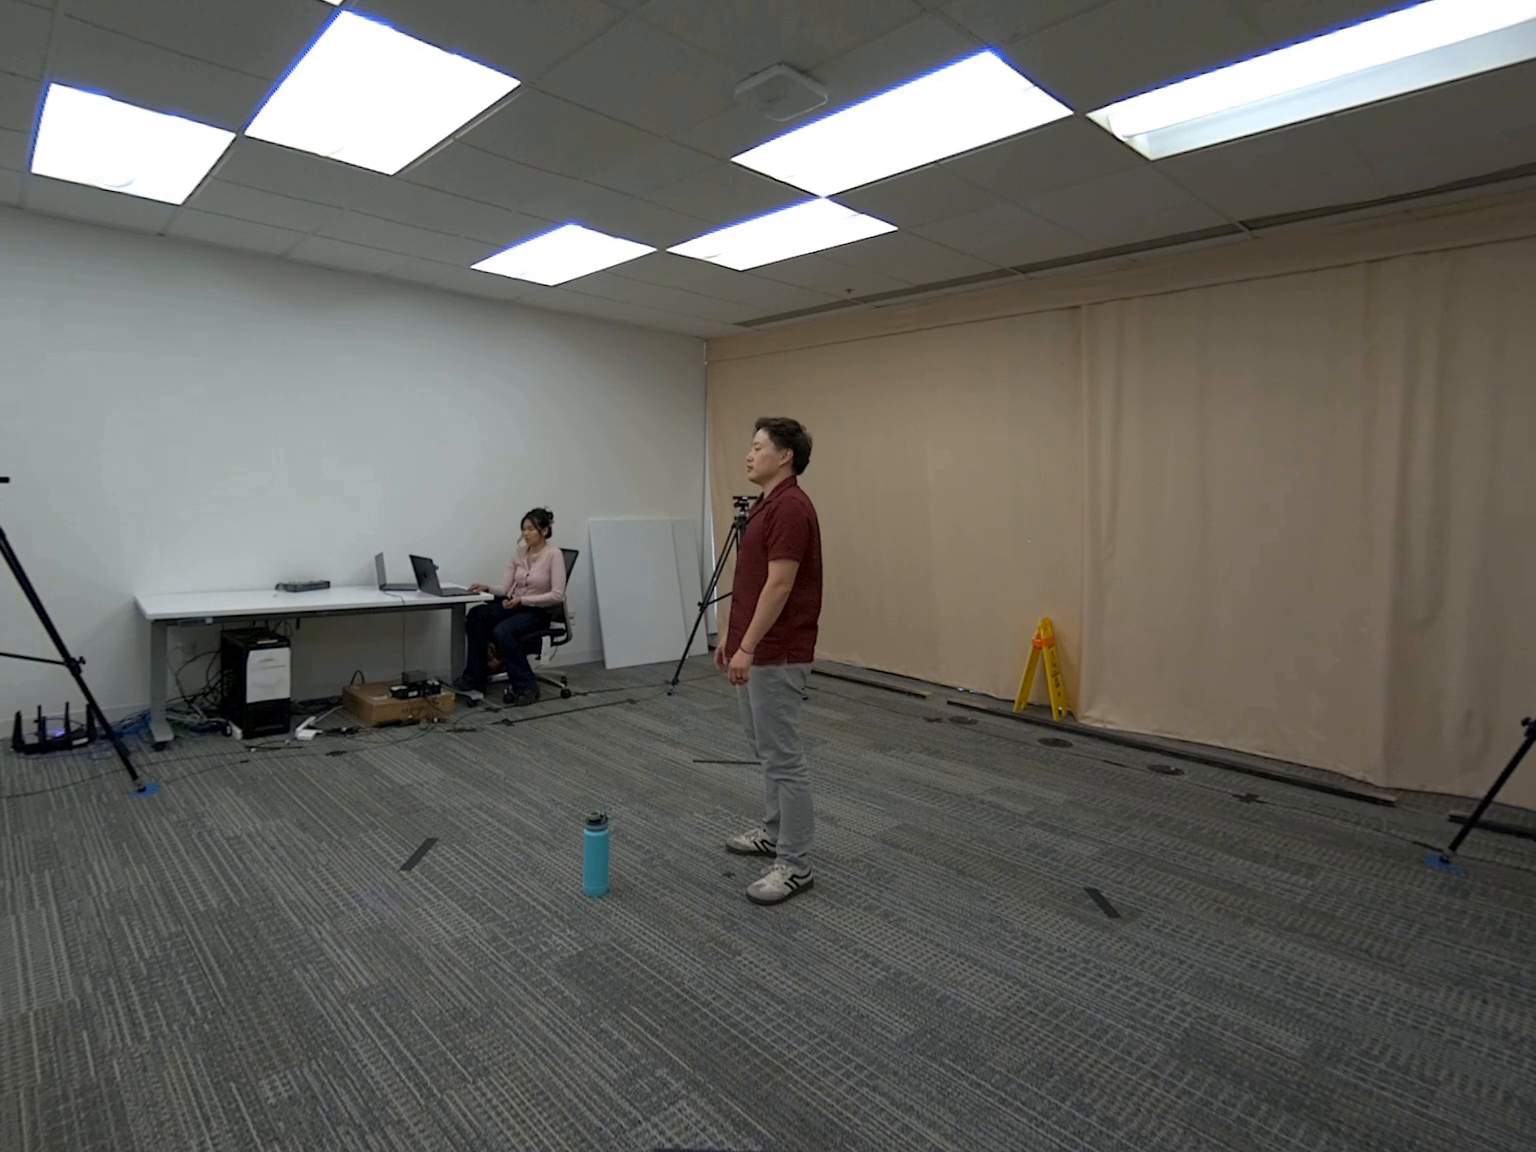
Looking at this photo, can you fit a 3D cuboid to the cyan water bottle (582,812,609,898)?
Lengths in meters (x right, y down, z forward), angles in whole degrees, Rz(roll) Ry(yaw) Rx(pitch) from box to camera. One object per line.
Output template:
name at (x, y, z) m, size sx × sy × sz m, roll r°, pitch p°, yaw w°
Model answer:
cyan water bottle at (-0.609, 0.969, 2.939) m, size 0.092 × 0.283 × 0.092 m, roll 3°, pitch 4°, yaw -2°
